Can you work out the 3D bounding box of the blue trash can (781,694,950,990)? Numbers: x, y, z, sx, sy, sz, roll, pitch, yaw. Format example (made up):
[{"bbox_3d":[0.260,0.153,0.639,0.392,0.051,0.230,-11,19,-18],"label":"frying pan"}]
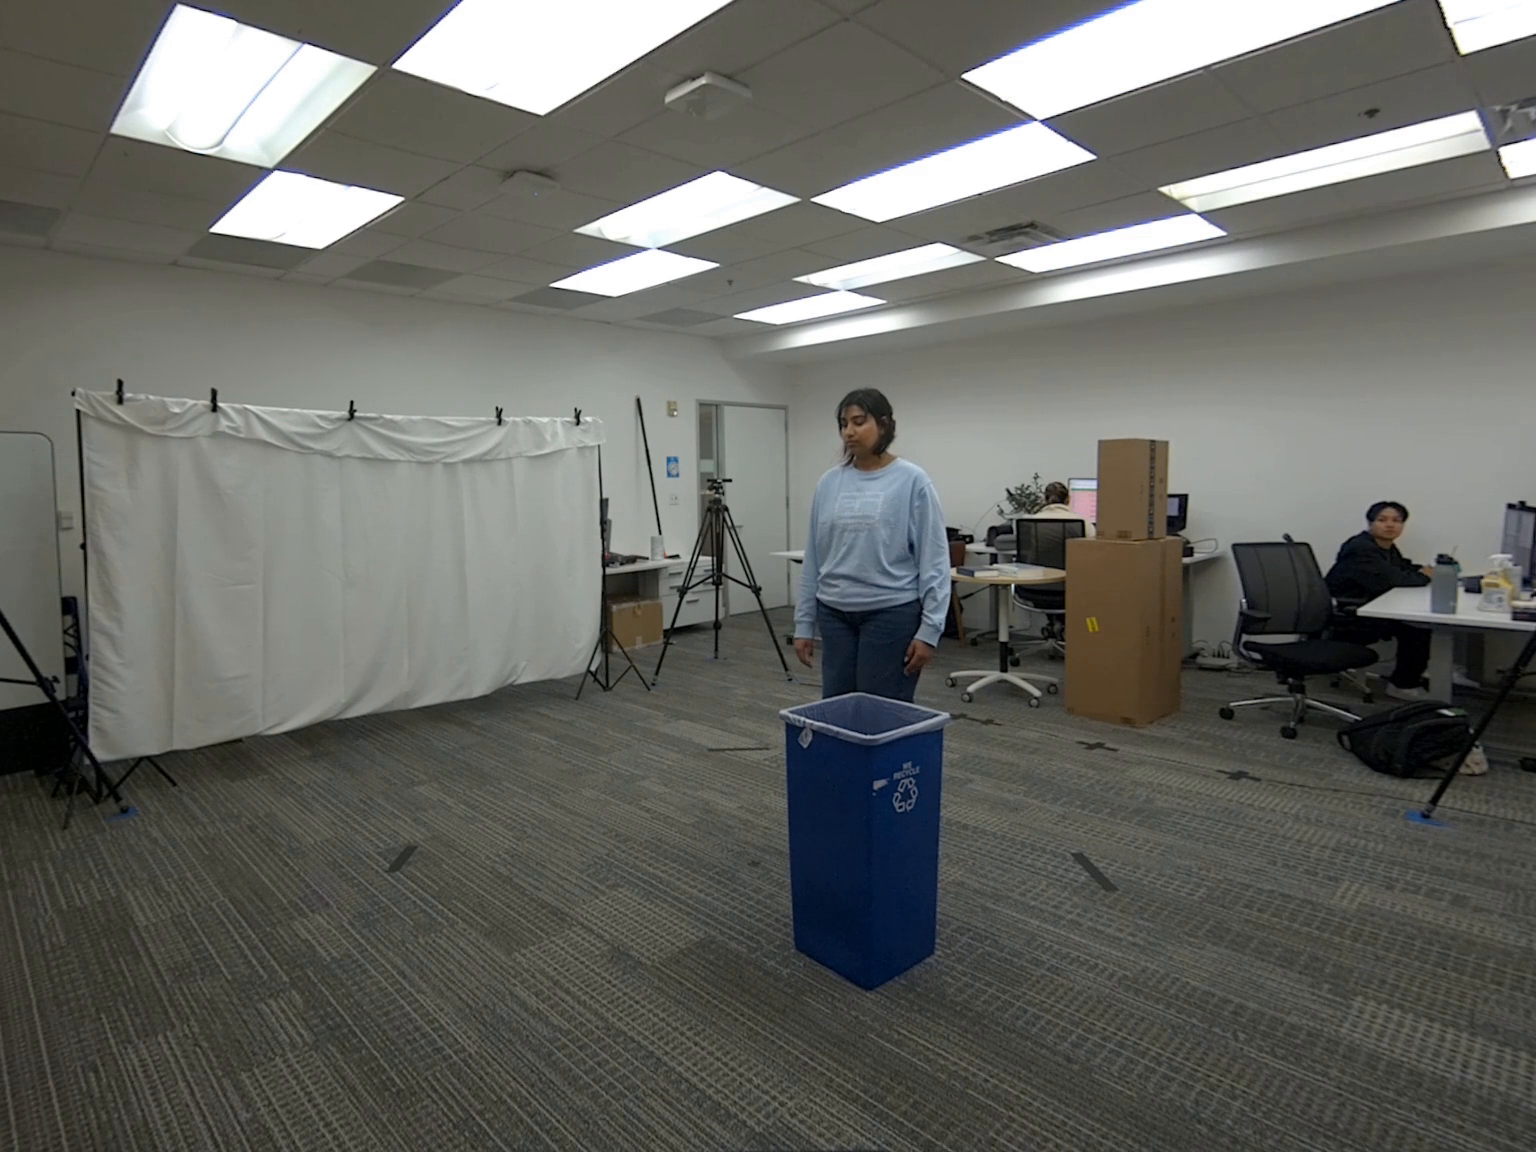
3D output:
[{"bbox_3d":[0.288,0.752,2.515,0.364,0.711,0.390,-4,5,-42],"label":"blue trash can"}]
